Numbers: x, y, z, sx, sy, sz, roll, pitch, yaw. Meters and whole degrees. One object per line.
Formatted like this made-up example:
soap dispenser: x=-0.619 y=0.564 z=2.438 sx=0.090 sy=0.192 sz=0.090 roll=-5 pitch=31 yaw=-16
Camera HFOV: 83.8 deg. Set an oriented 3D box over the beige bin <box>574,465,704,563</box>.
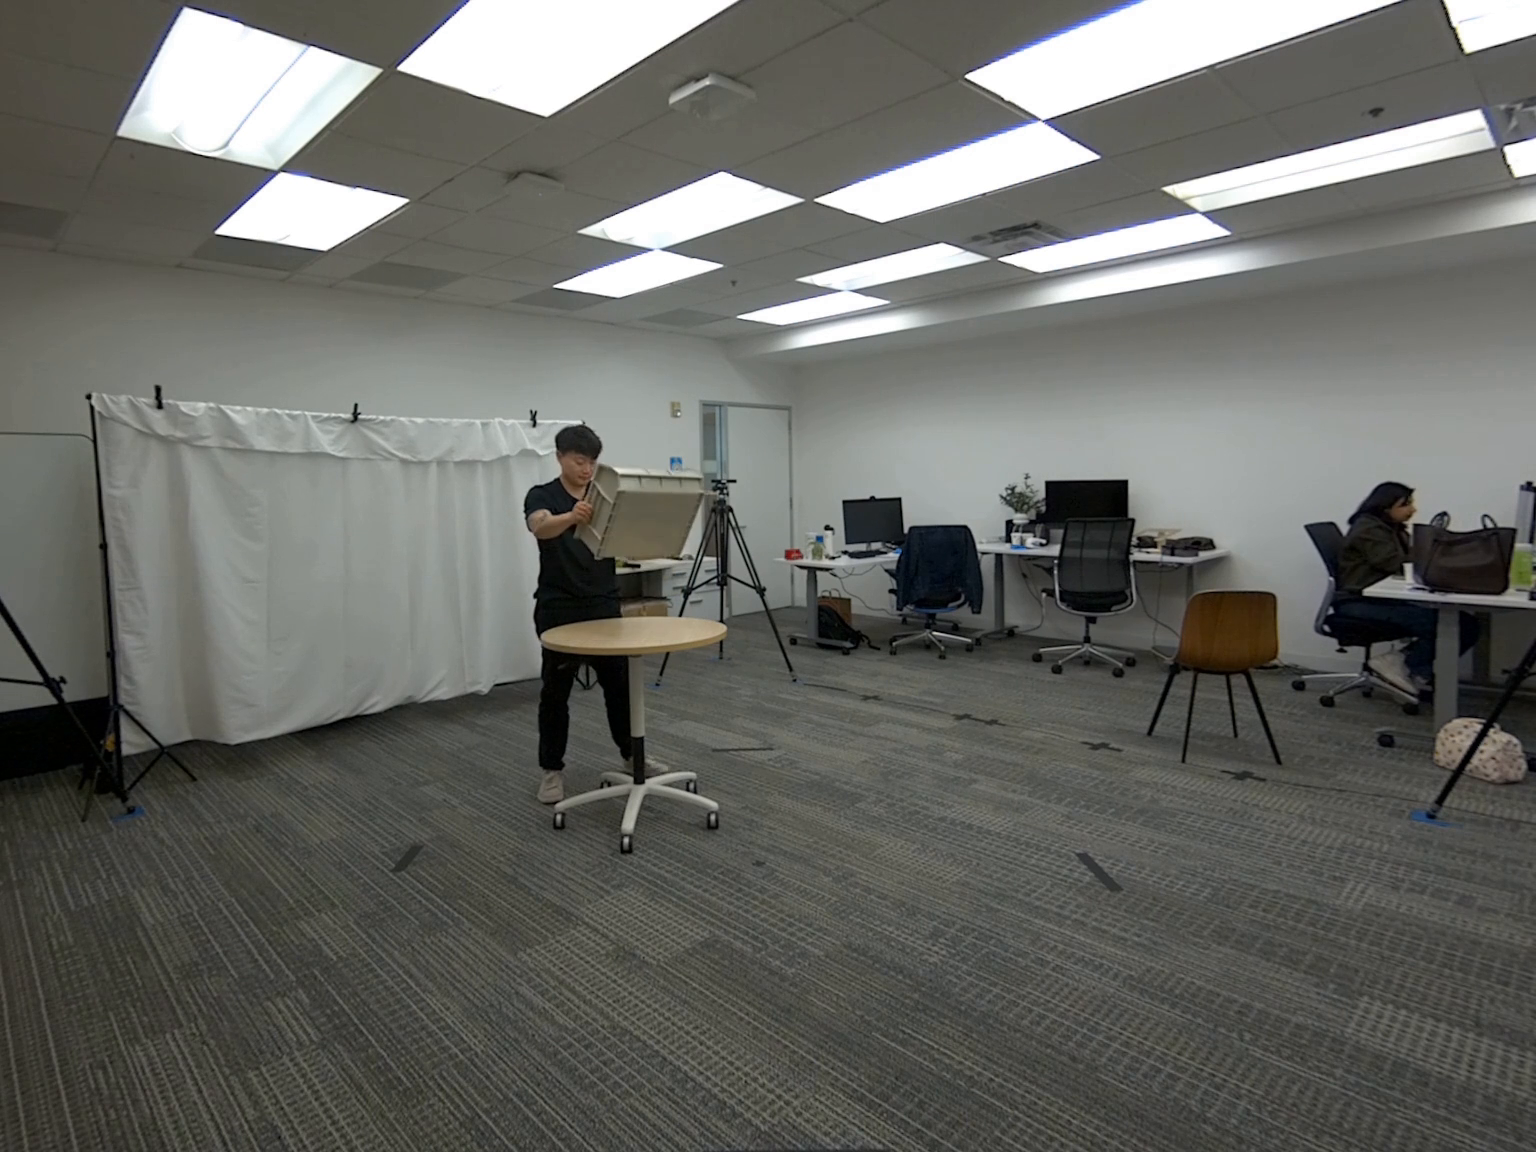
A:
beige bin: x=-0.504 y=-0.254 z=3.431 sx=0.411 sy=0.373 sz=0.196 roll=-3 pitch=36 yaw=-42
